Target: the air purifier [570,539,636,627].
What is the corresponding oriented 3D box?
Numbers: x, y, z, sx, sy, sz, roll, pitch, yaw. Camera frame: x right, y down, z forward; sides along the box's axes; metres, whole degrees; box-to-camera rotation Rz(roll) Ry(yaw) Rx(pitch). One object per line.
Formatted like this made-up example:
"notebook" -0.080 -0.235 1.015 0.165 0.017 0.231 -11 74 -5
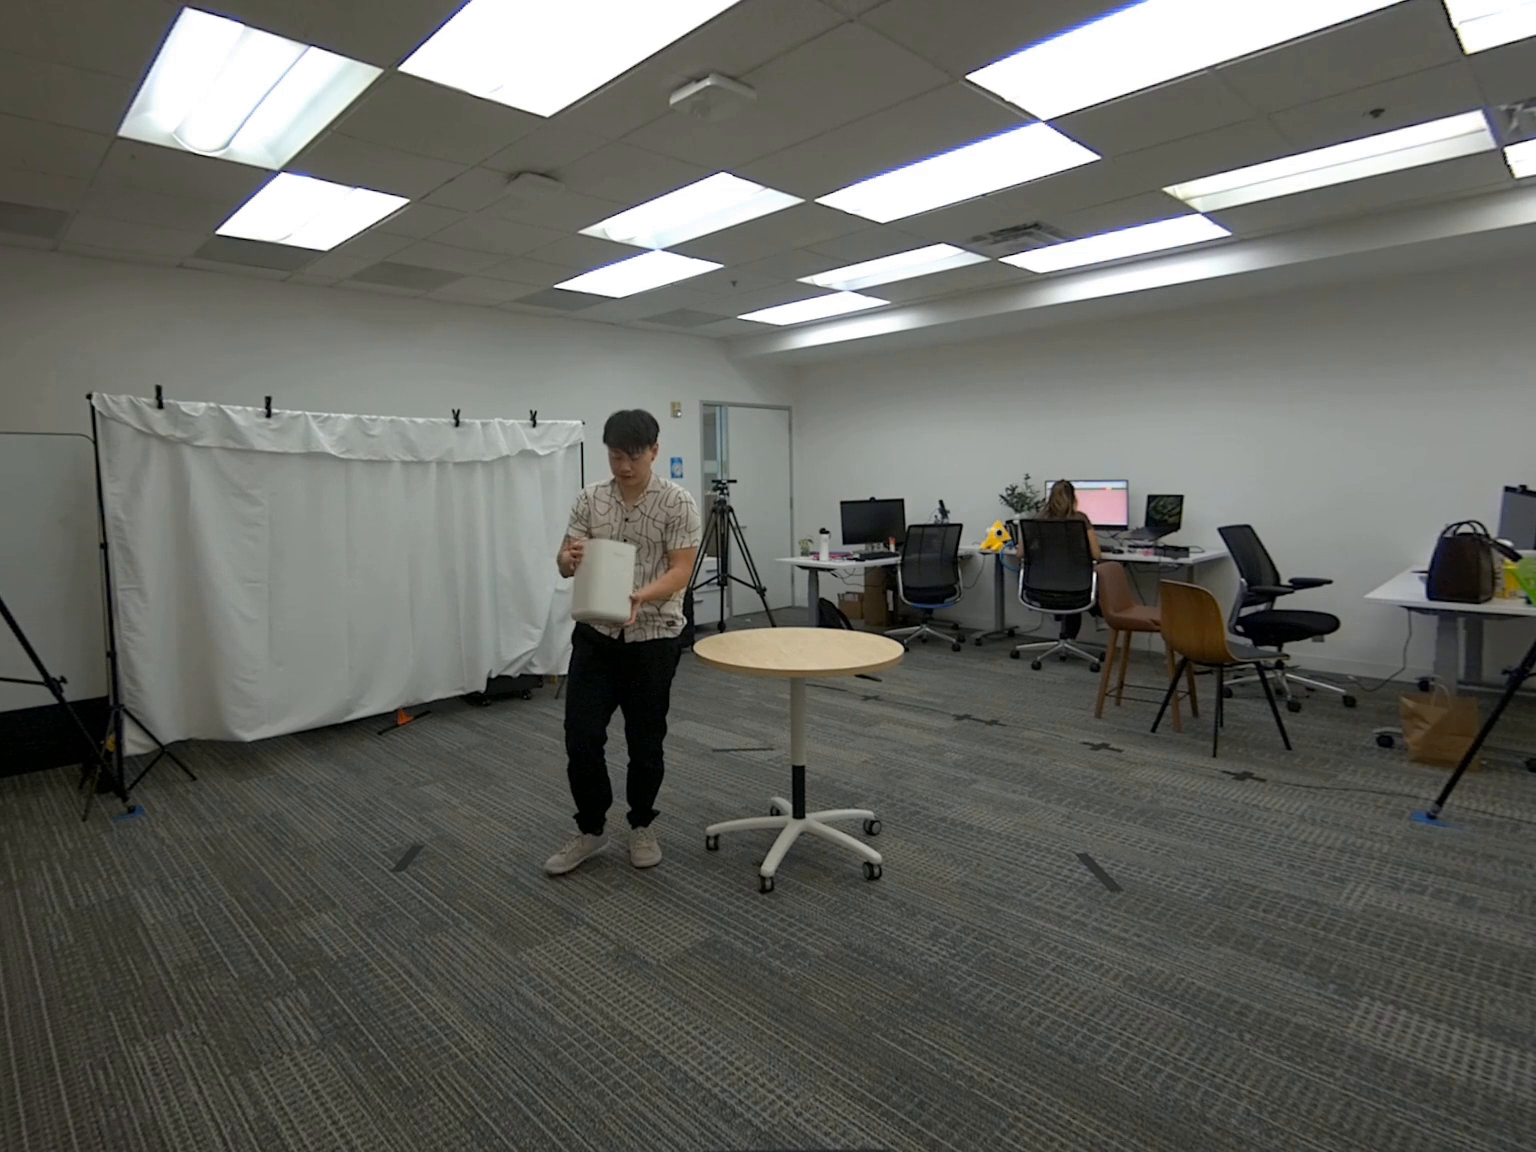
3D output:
"air purifier" -0.565 0.028 2.852 0.165 0.268 0.175 14 -15 -38
